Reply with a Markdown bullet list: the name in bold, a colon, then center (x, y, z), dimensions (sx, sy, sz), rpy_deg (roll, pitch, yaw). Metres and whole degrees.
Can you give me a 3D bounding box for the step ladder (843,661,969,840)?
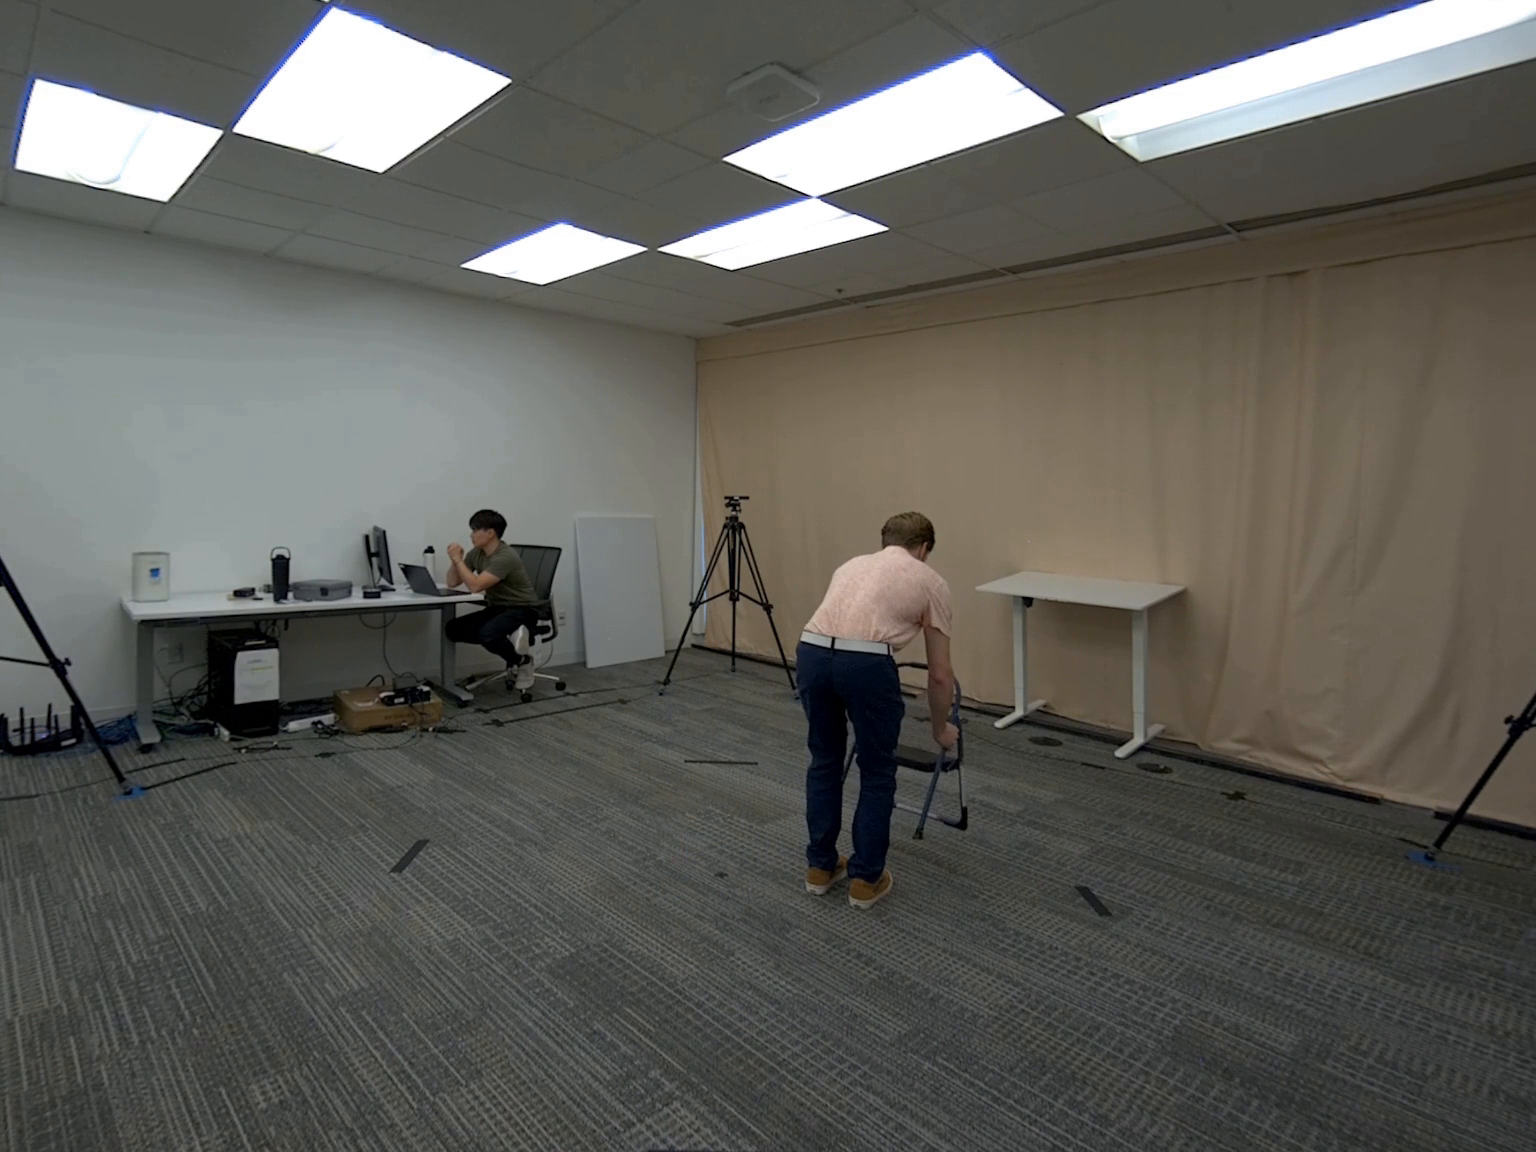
- **step ladder**: center (0.532, 0.645, 3.282), dimensions (0.441, 0.607, 0.340), rpy_deg (4, -5, 45)
